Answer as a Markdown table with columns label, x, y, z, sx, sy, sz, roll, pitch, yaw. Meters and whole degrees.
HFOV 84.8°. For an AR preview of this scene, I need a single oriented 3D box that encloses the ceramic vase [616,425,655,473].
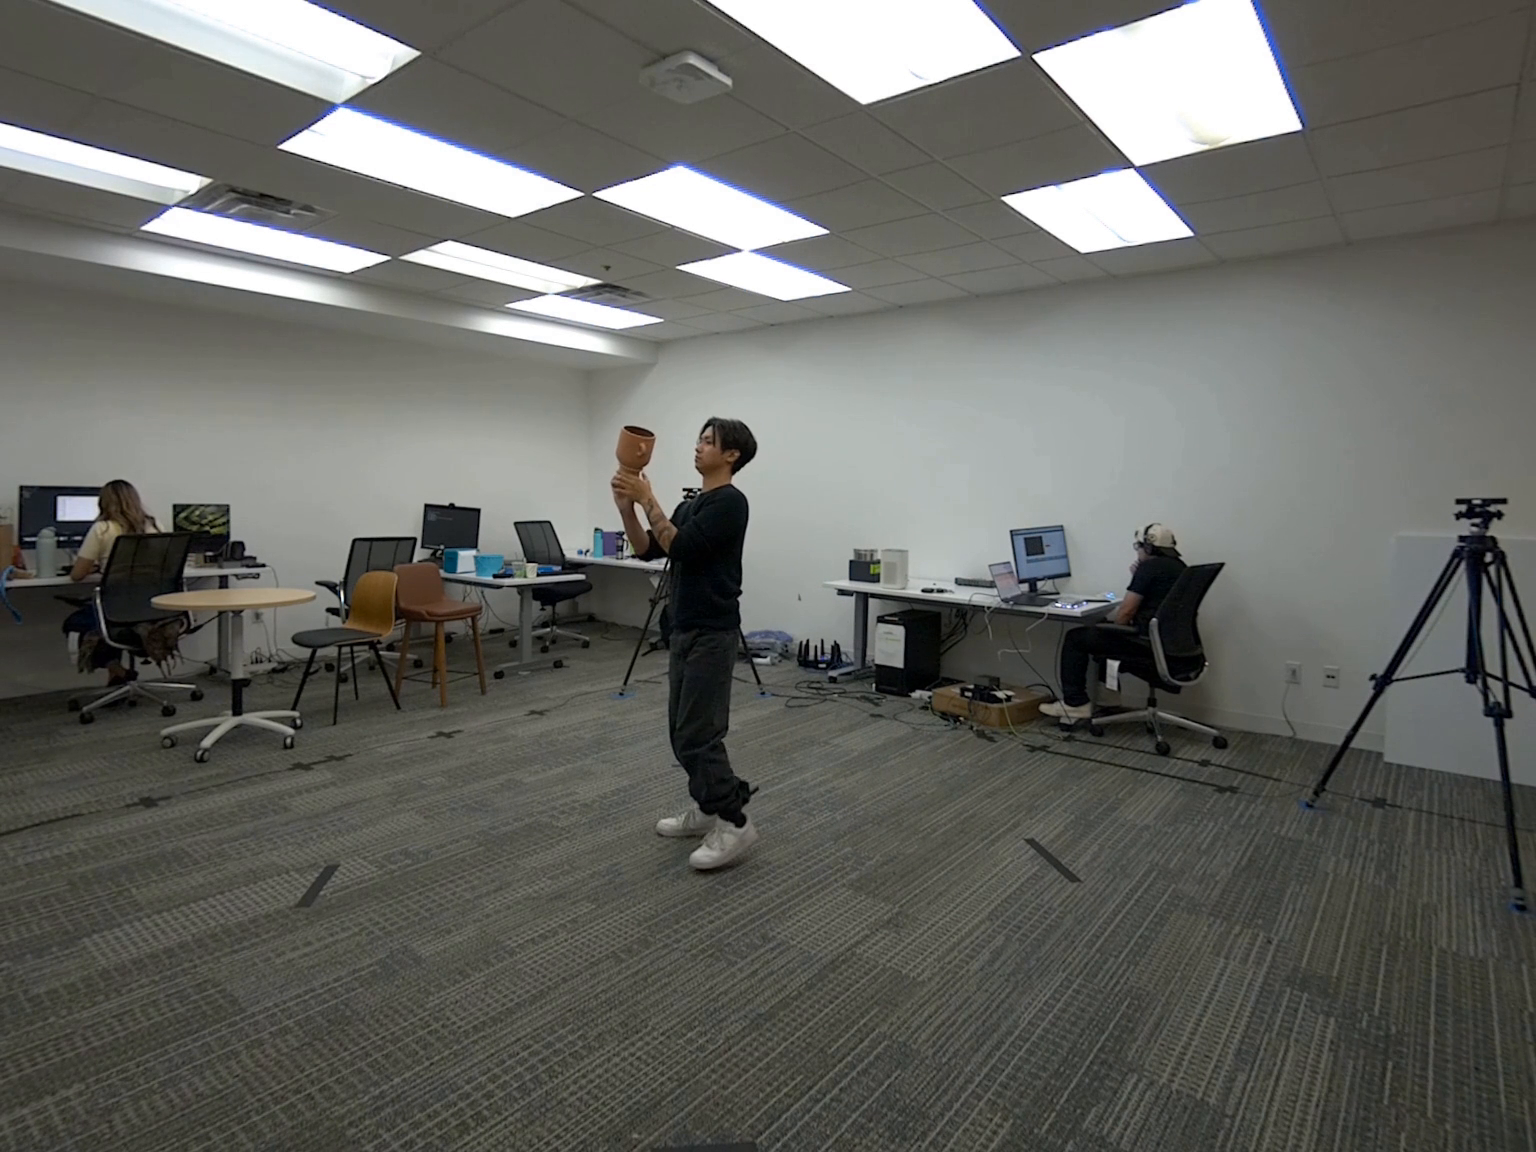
| label | x | y | z | sx | sy | sz | roll | pitch | yaw |
| --- | --- | --- | --- | --- | --- | --- | --- | --- | --- |
| ceramic vase | -0.520 | -0.446 | 3.203 | 0.136 | 0.217 | 0.159 | 21 | 22 | 9 |
